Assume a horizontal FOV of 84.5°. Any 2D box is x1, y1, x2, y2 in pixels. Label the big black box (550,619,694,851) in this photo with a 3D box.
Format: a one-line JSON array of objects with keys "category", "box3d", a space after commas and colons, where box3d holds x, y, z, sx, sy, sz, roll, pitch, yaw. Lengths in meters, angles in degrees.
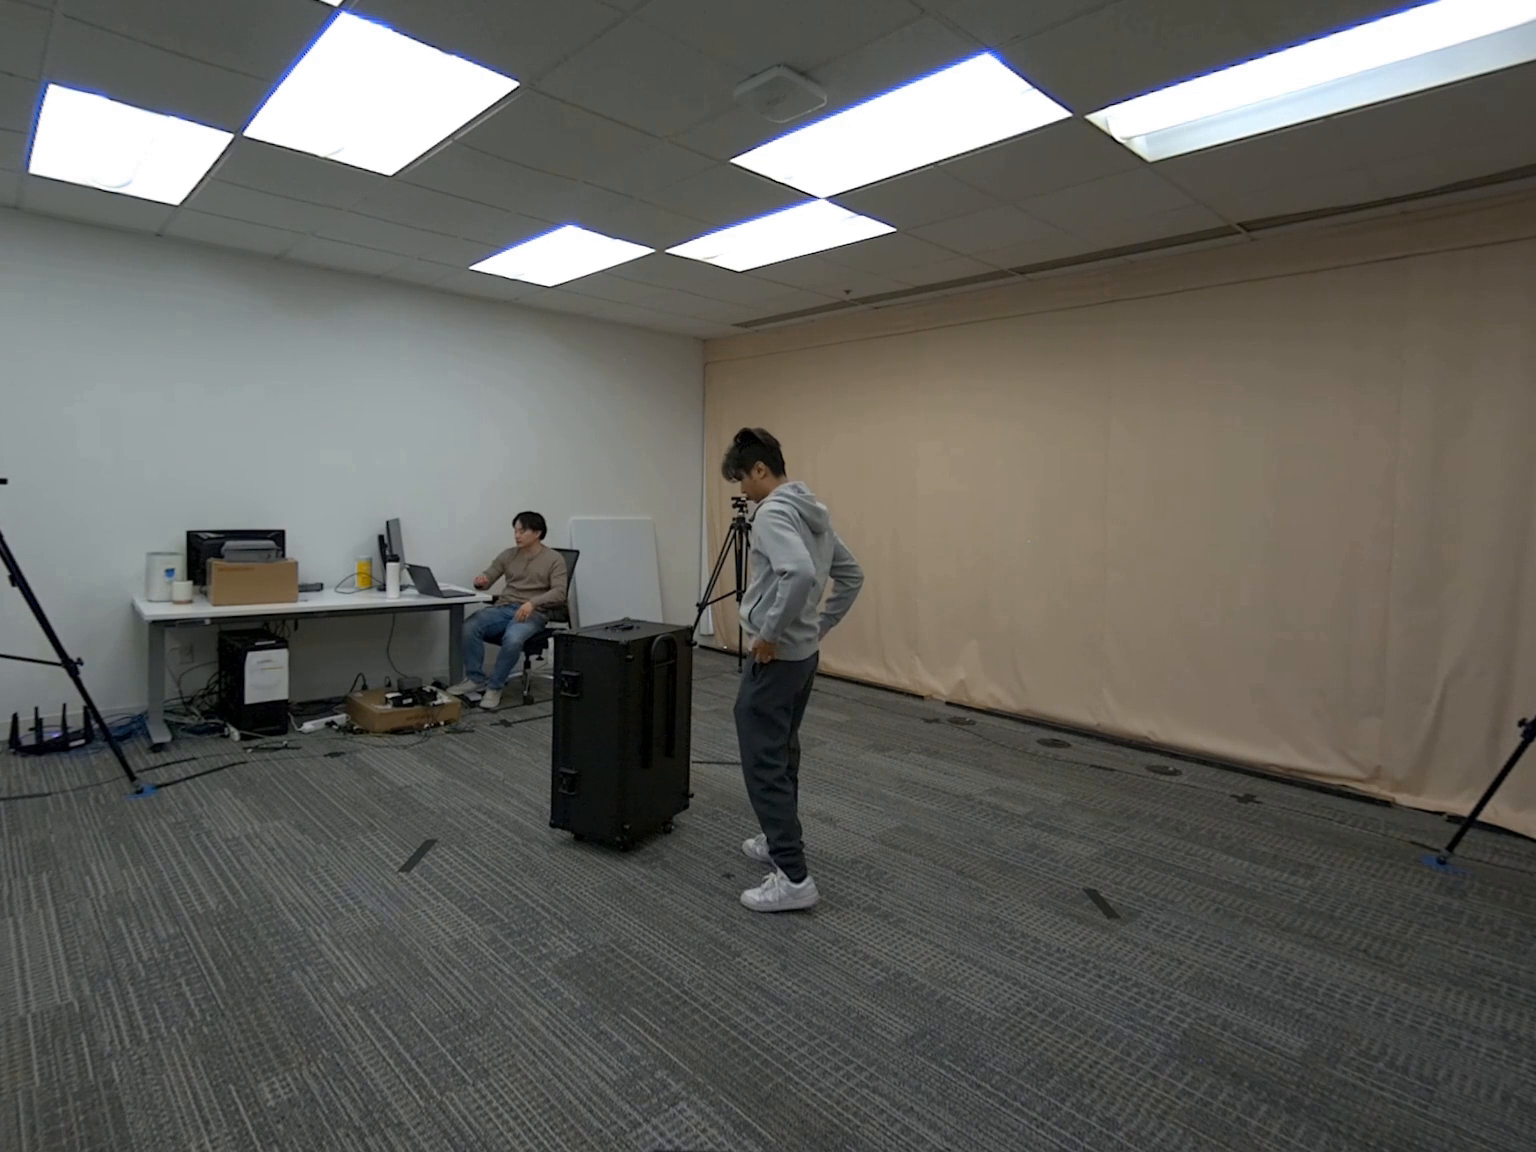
[{"category": "big black box", "box3d": [-0.587, 0.642, 3.454, 0.405, 0.859, 0.511, 5, 5, 28]}]
